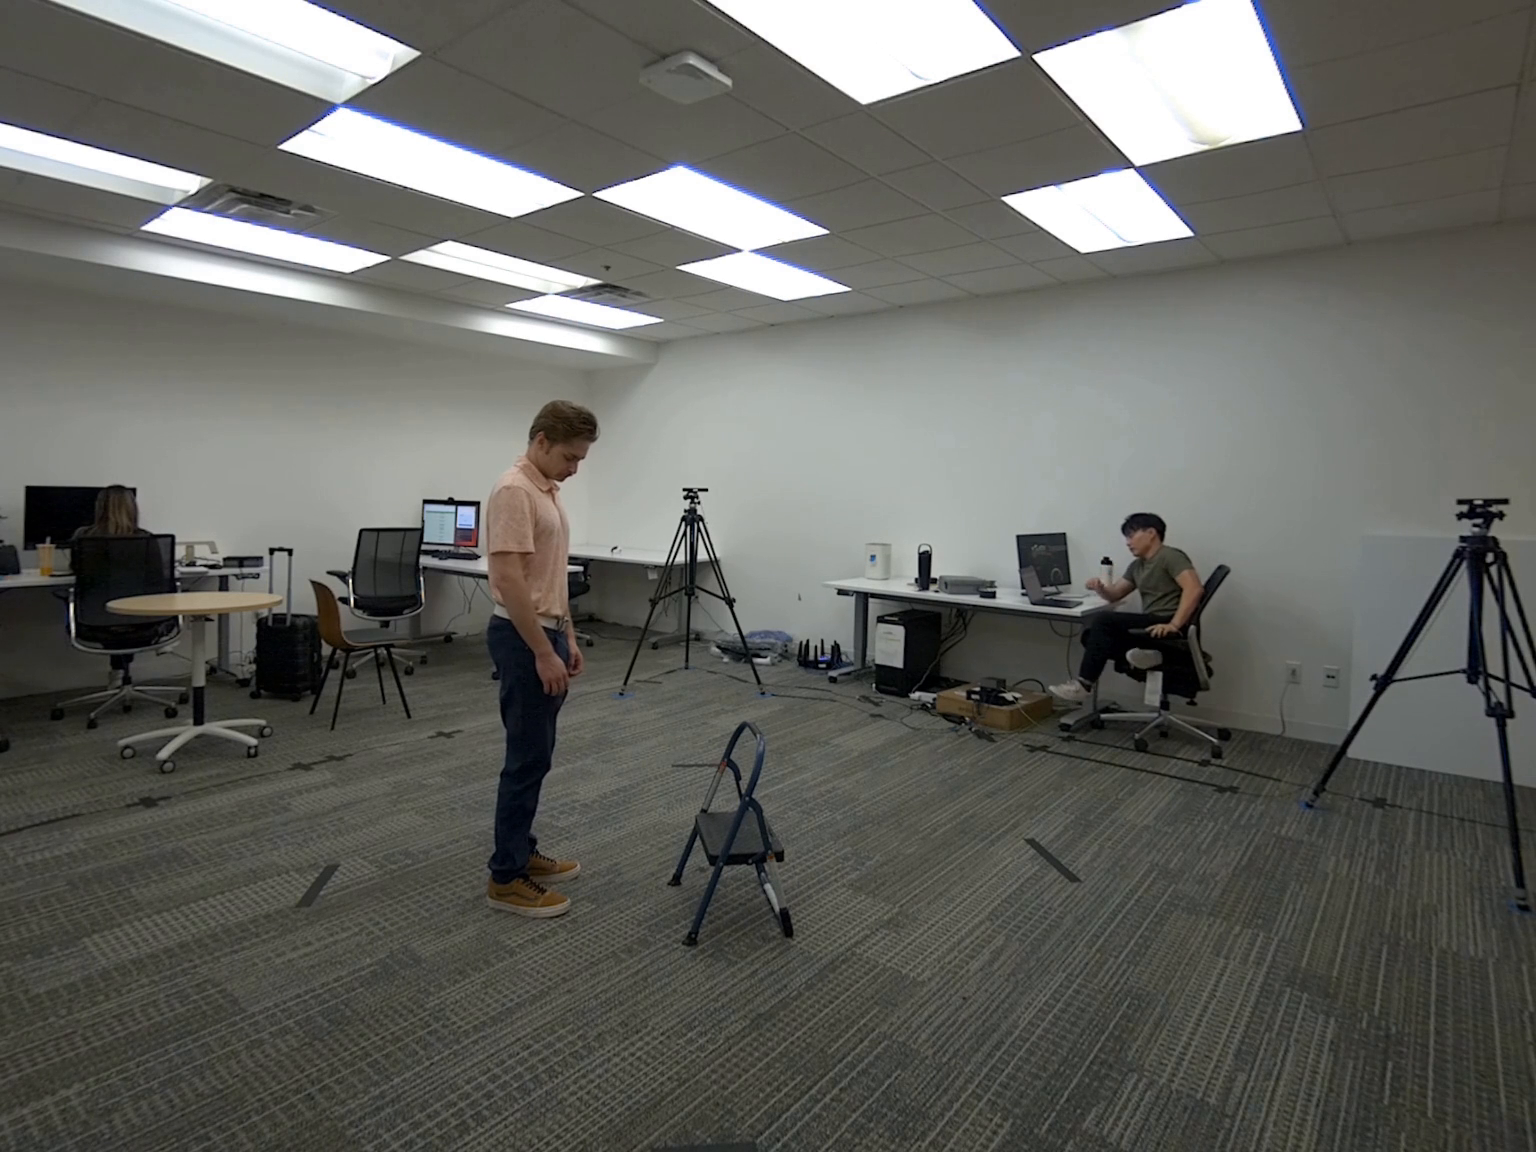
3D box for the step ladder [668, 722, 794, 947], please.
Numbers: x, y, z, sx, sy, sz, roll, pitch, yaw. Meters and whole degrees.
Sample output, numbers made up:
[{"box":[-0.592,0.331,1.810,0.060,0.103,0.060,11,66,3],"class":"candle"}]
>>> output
[{"box":[-0.124,0.801,2.797,0.345,0.604,0.437,2,4,-12],"class":"step ladder"}]
